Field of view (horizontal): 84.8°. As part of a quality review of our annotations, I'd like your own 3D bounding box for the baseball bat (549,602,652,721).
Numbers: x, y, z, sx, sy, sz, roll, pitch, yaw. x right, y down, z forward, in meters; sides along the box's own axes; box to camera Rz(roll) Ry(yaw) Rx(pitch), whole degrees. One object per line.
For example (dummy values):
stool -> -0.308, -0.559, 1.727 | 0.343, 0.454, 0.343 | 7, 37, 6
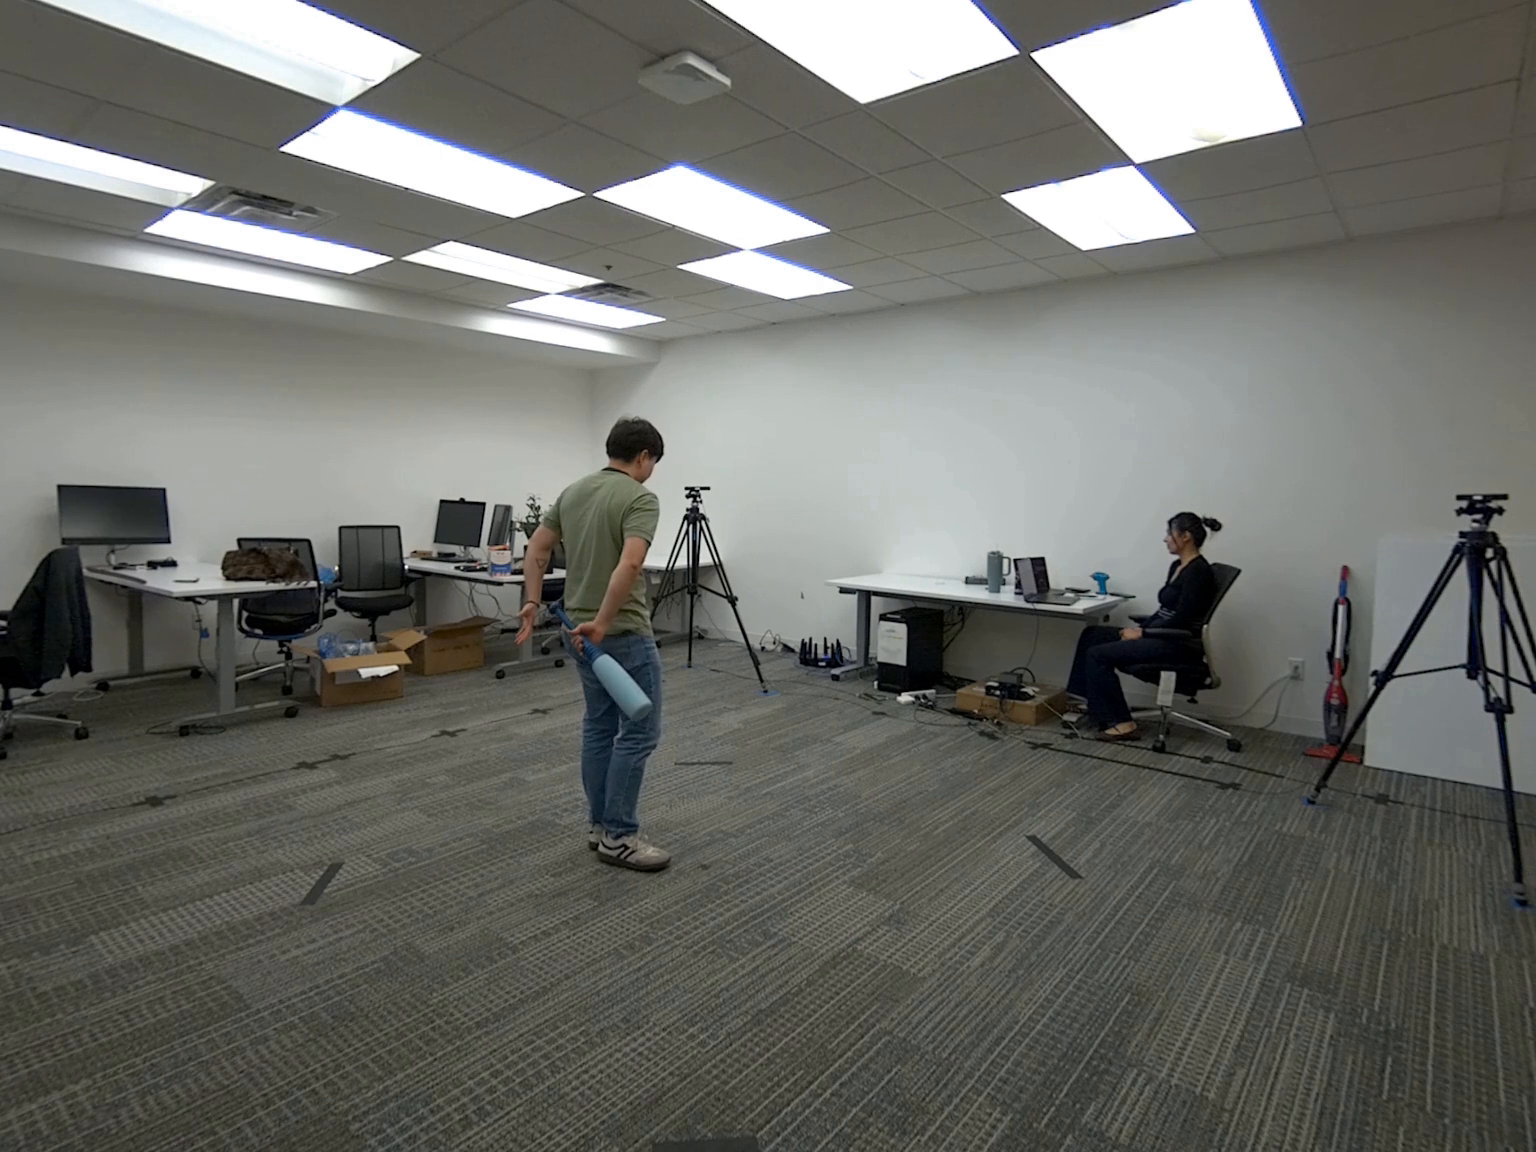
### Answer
baseball bat -> -0.595, 0.276, 2.925 | 0.563, 0.088, 0.086 | 45, 28, 28
